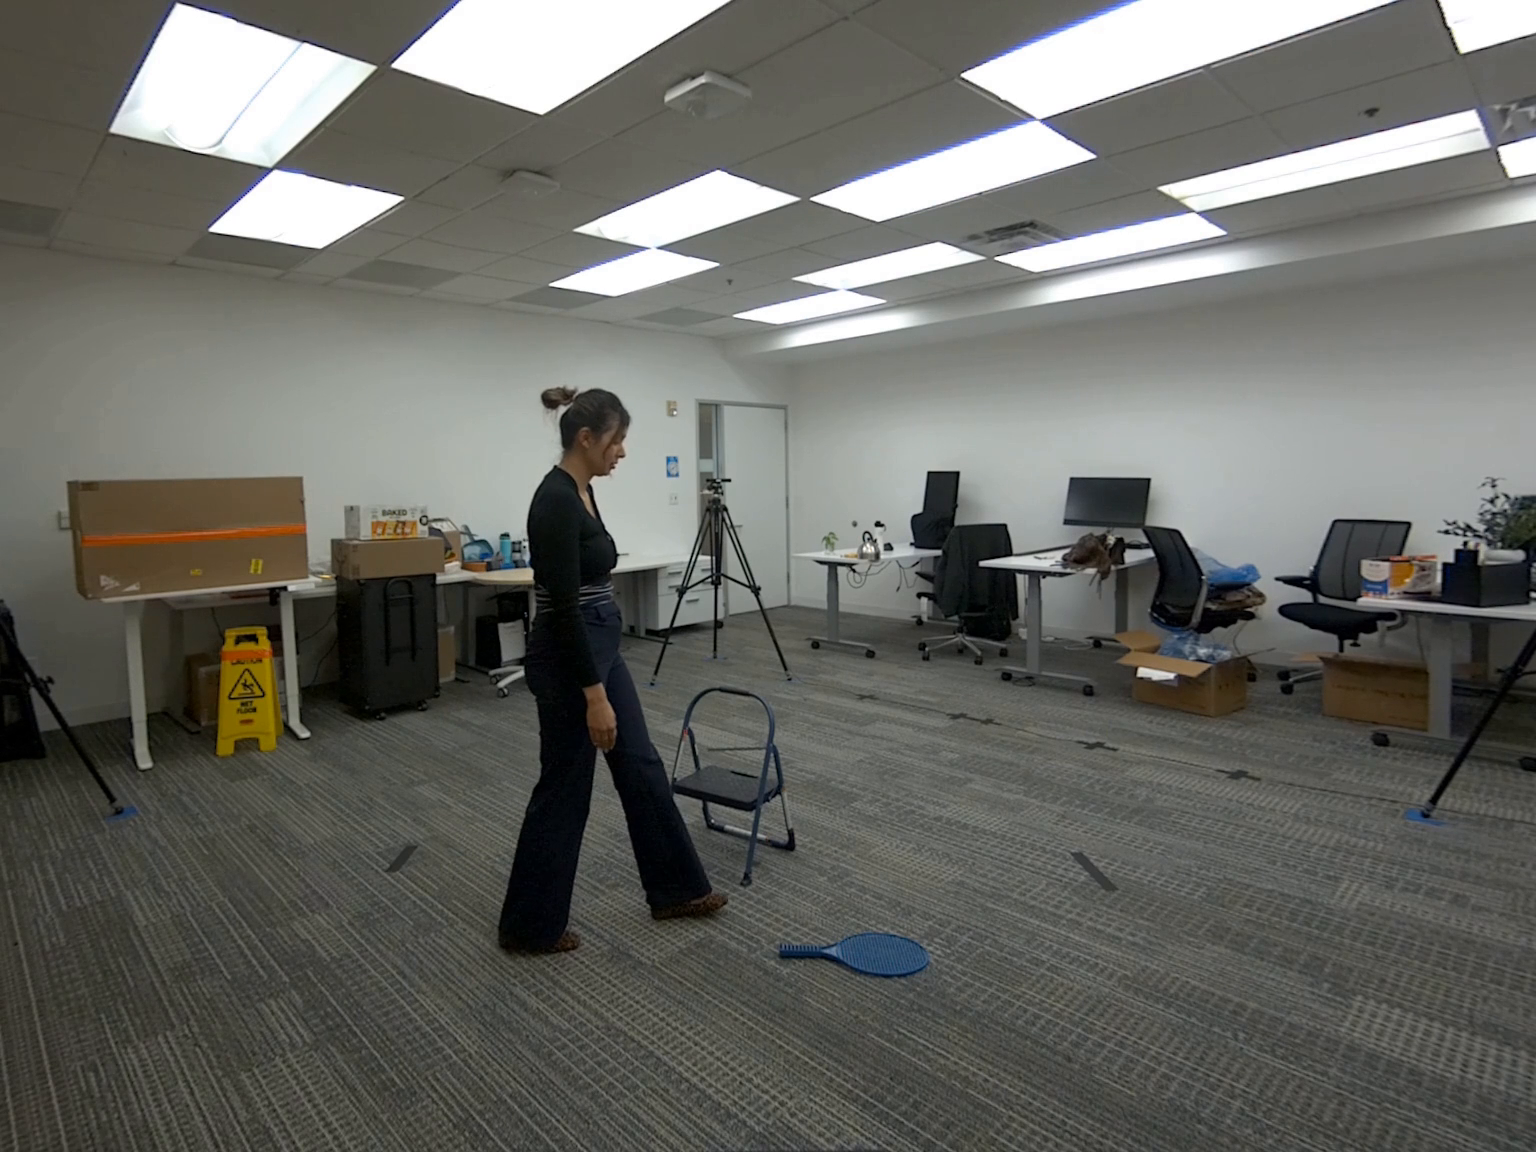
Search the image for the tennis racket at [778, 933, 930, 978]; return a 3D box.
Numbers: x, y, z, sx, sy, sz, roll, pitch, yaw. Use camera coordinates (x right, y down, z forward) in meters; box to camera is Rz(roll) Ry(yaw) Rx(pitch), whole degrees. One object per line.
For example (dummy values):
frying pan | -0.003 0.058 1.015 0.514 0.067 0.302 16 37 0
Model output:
tennis racket | 0.250 1.093 2.498 0.435 0.031 0.214 1 7 4
